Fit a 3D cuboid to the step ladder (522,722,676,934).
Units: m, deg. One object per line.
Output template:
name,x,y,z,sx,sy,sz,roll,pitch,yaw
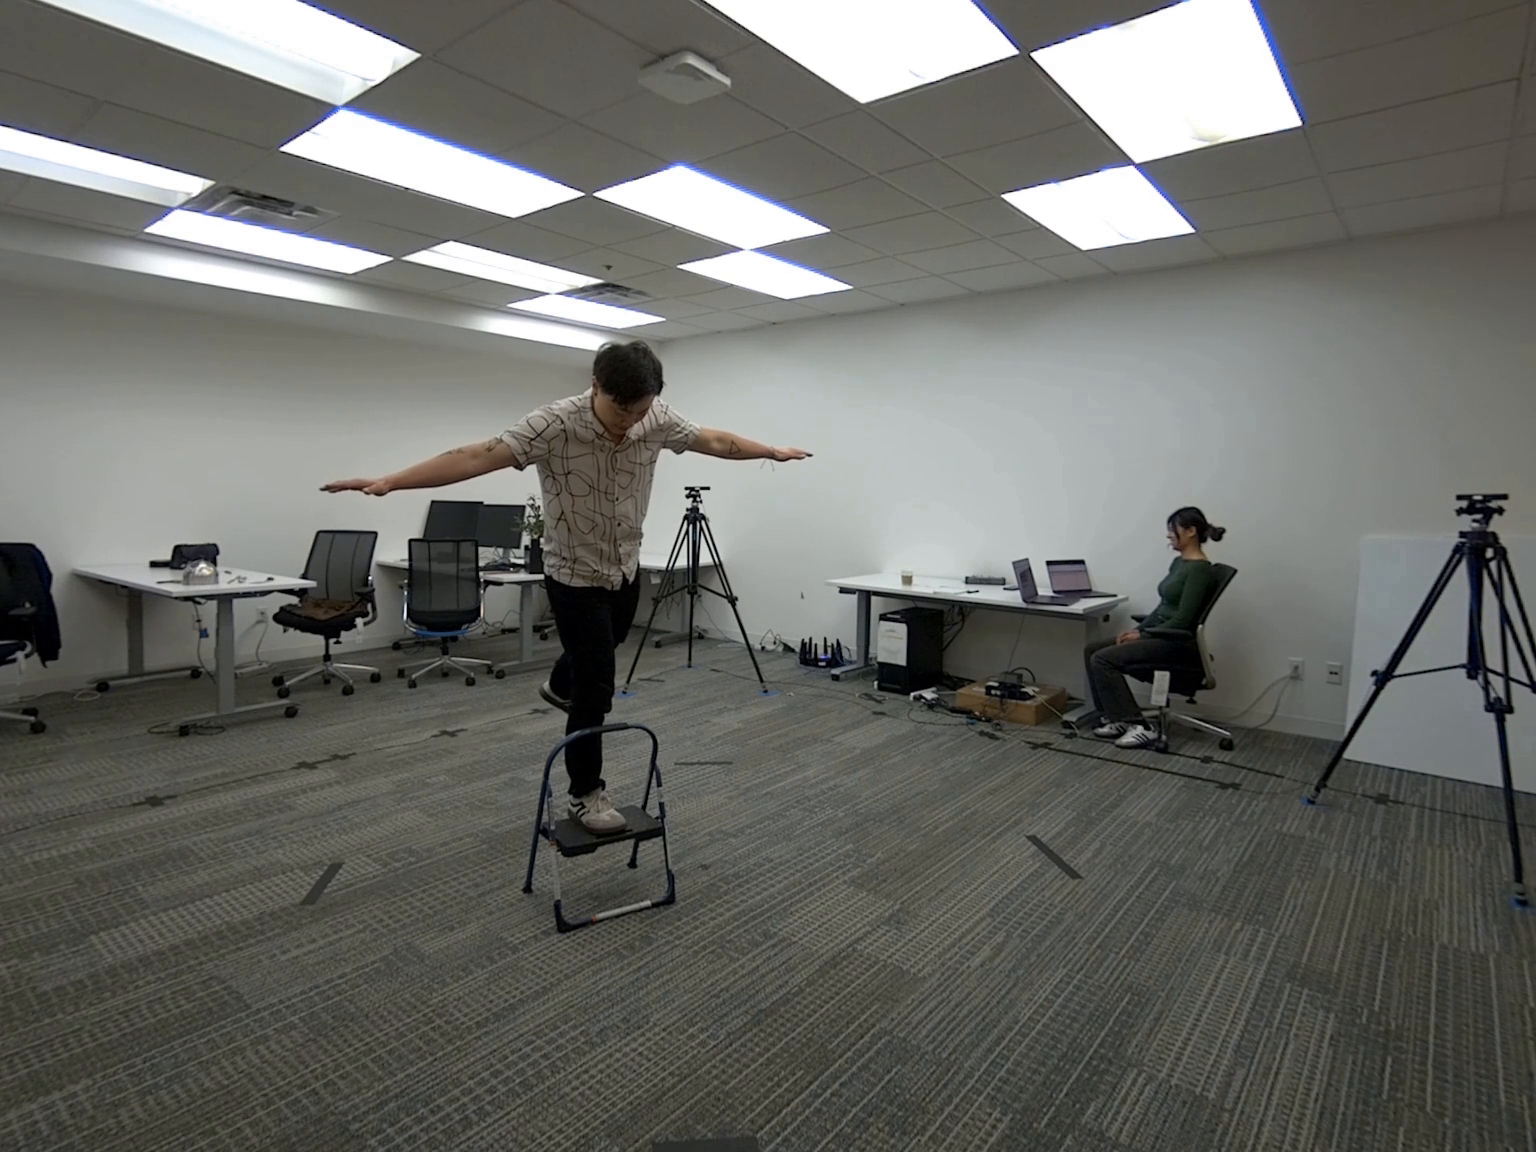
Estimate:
step ladder,-0.580,0.781,2.870,0.418,0.604,0.360,-2,4,-34
